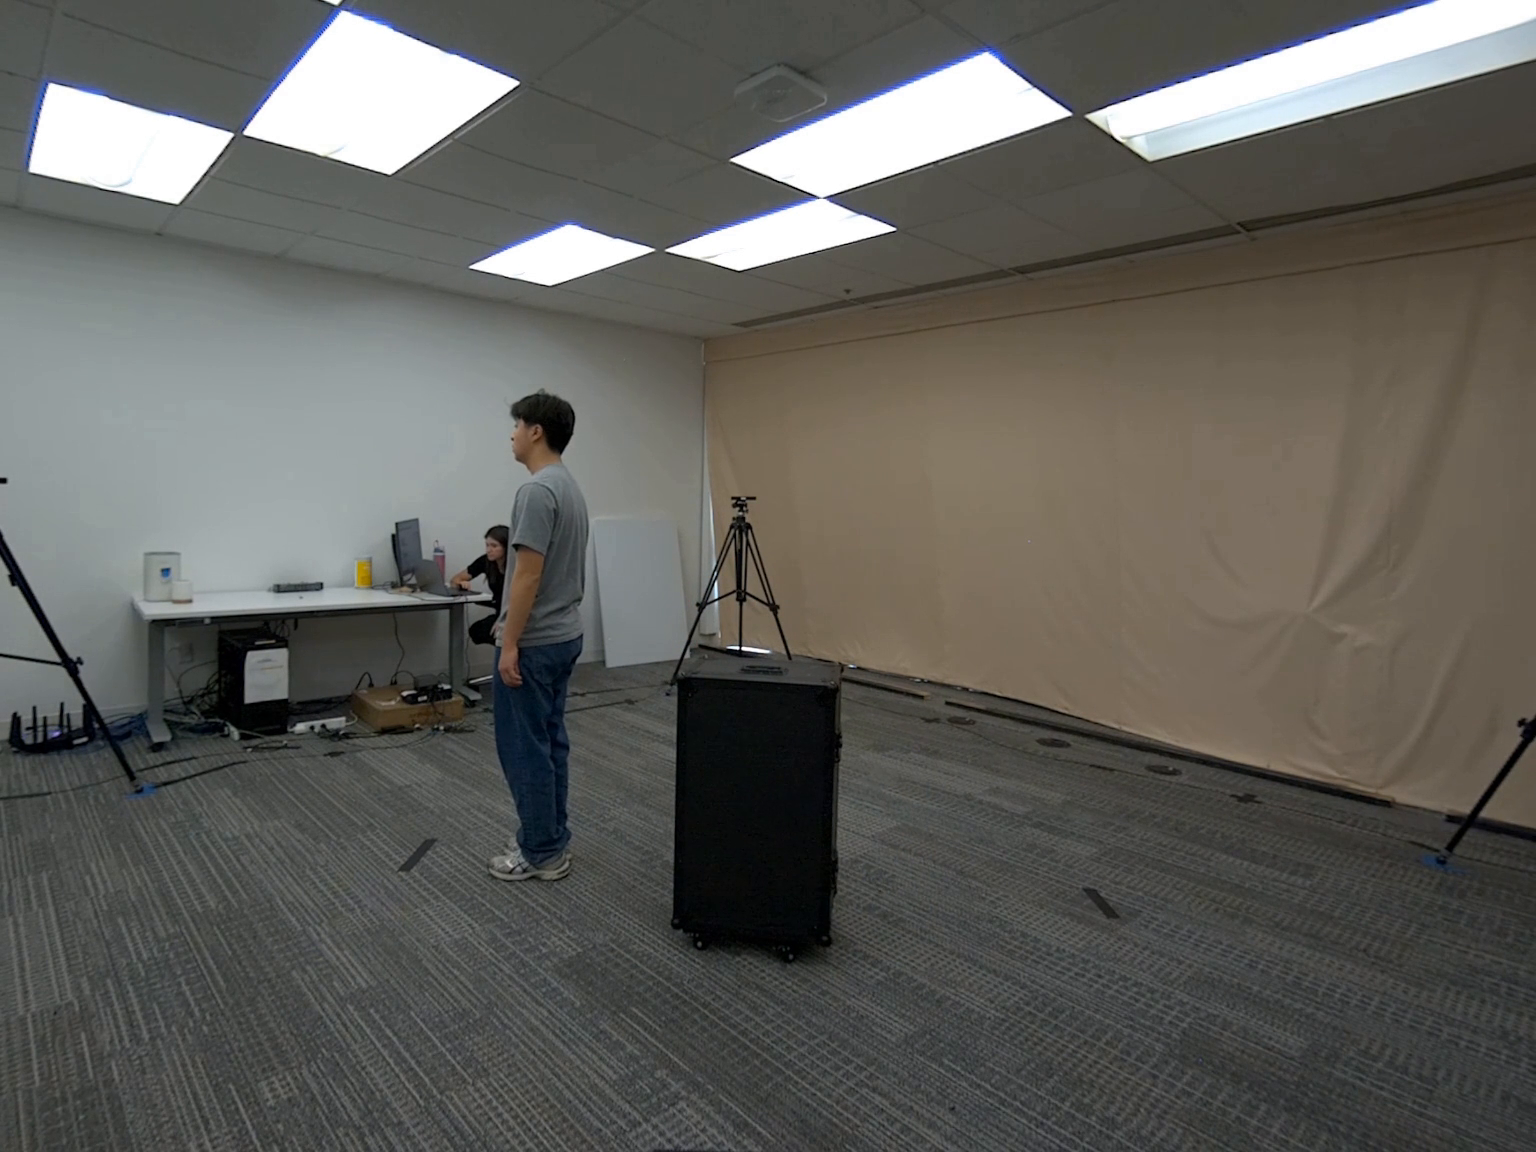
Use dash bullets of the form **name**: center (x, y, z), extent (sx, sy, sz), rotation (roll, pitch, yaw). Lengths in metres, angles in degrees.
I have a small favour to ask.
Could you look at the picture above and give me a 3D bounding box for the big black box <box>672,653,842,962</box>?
- **big black box**: center (-0.034, 0.721, 2.685), extent (0.526, 0.860, 0.393), rotation (2, 3, 11)
